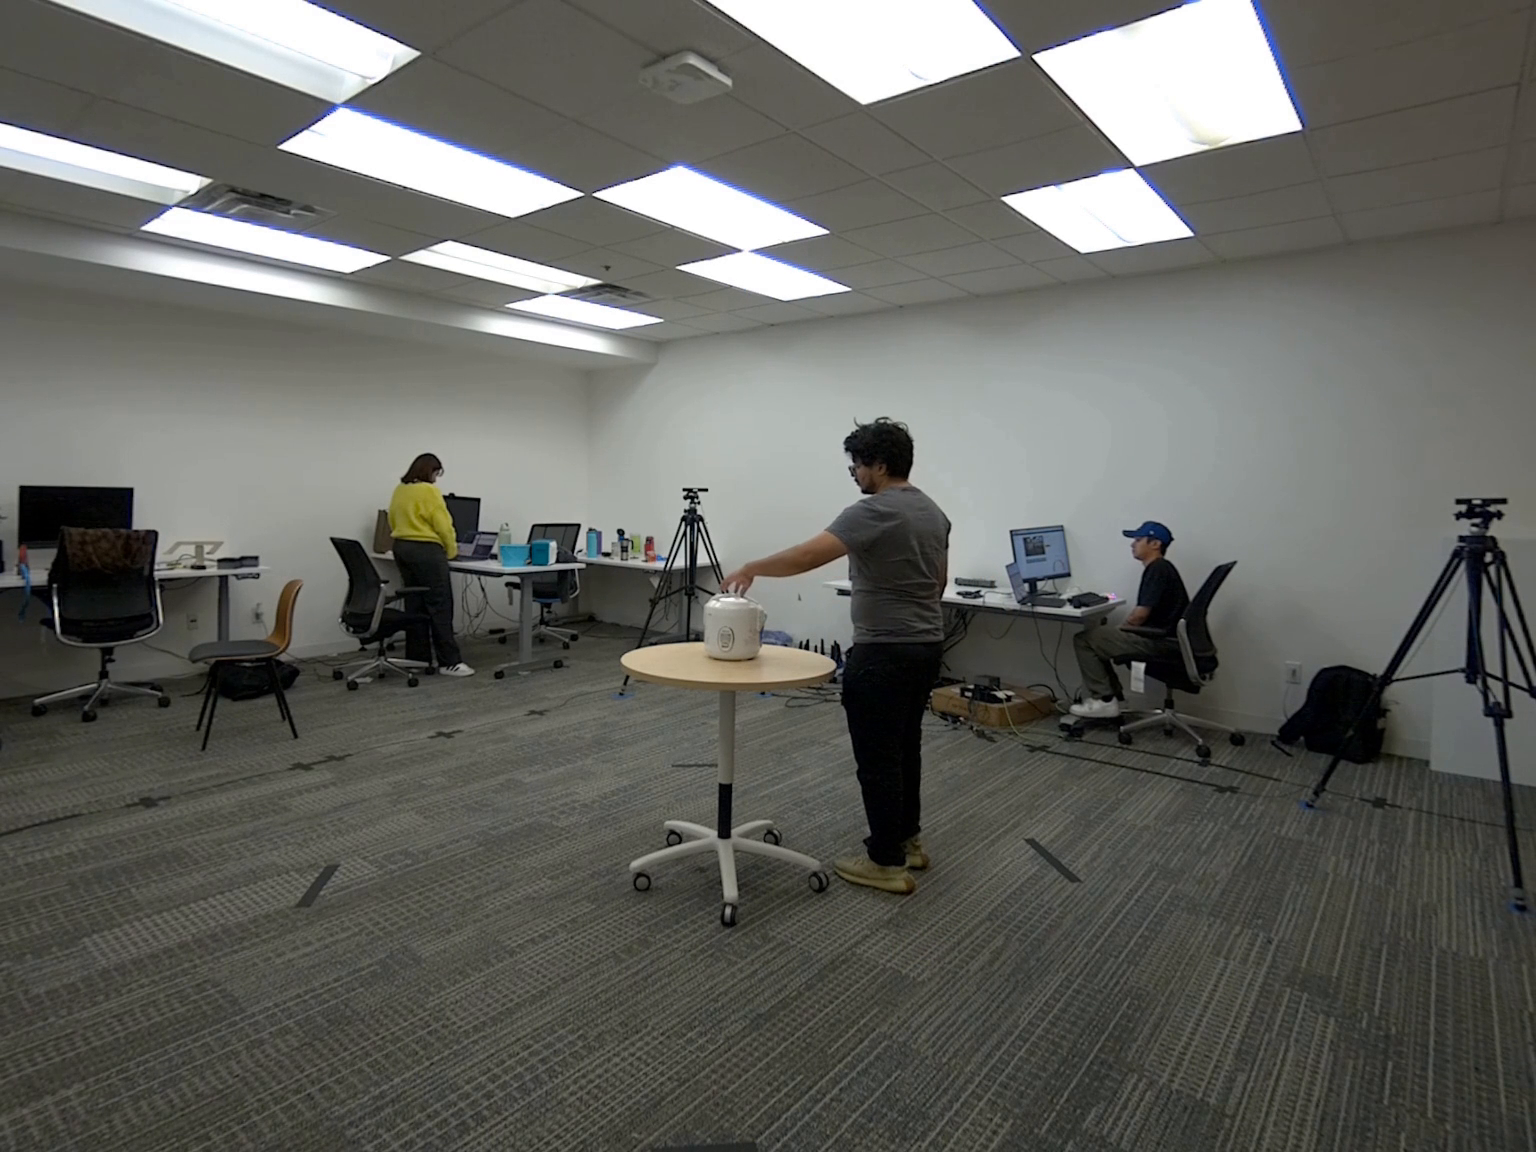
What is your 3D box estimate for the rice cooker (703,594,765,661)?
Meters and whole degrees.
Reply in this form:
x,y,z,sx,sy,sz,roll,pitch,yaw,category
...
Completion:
x,y,z,sx,sy,sz,roll,pitch,yaw,category
-0.135,0.175,3.099,0.224,0.232,0.215,2,4,12,rice cooker
